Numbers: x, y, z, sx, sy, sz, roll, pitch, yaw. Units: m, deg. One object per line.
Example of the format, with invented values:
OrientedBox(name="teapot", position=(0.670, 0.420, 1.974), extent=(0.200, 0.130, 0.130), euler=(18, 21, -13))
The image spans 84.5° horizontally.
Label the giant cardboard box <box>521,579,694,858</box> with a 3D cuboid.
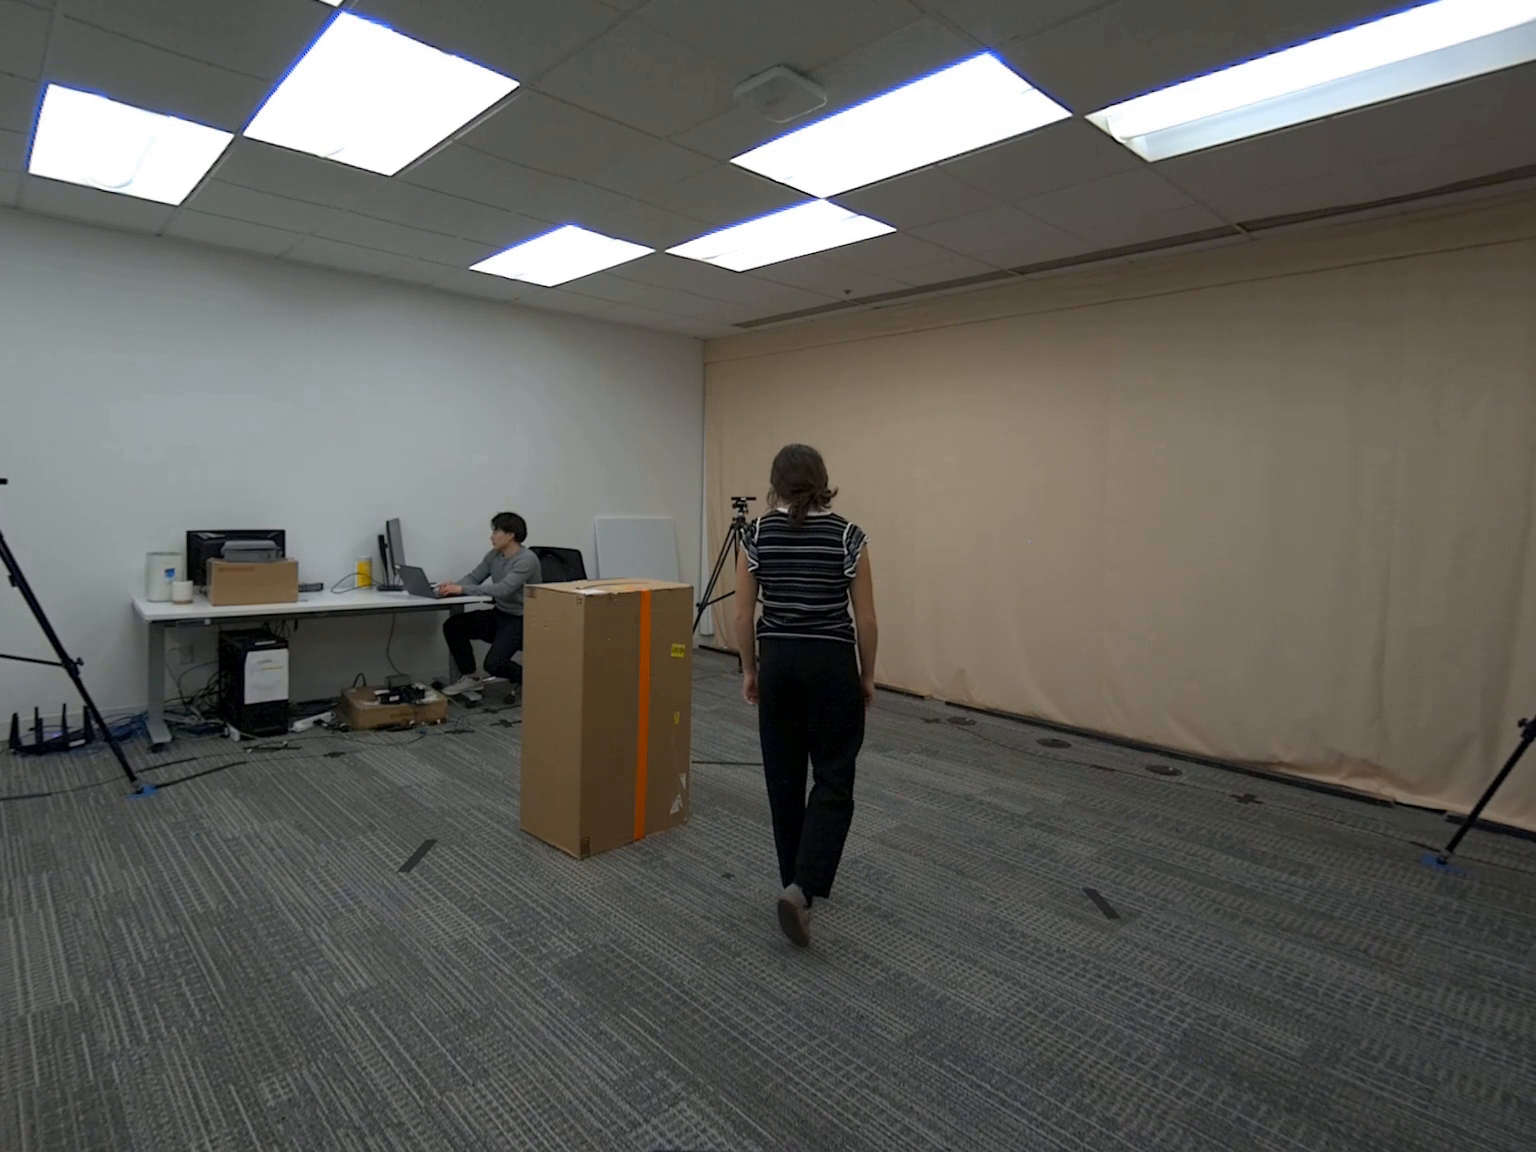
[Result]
OrientedBox(name="giant cardboard box", position=(-0.679, 0.550, 3.533), extent=(0.437, 1.023, 0.564), euler=(4, 4, 42))
